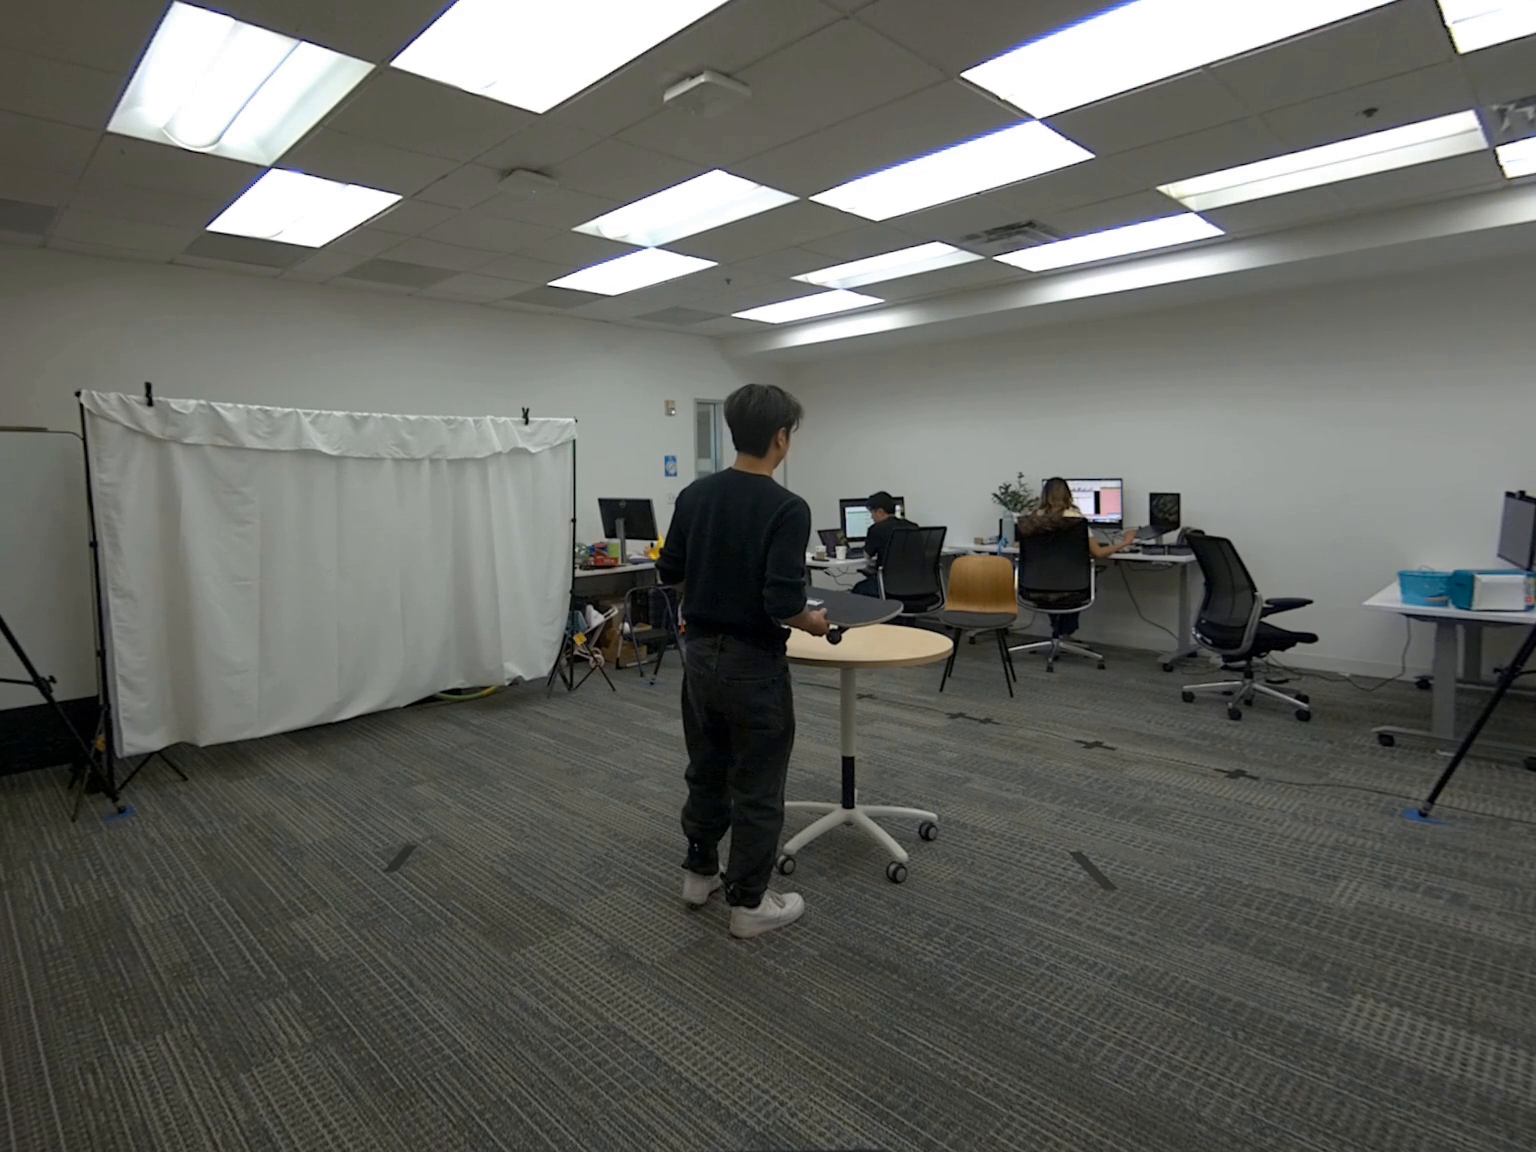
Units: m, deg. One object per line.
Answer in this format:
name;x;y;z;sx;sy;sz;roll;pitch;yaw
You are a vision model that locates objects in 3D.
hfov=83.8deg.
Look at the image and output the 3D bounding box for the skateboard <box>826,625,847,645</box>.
skateboard;0.097;0.112;2.818;0.811;0.108;0.191;8;29;44
